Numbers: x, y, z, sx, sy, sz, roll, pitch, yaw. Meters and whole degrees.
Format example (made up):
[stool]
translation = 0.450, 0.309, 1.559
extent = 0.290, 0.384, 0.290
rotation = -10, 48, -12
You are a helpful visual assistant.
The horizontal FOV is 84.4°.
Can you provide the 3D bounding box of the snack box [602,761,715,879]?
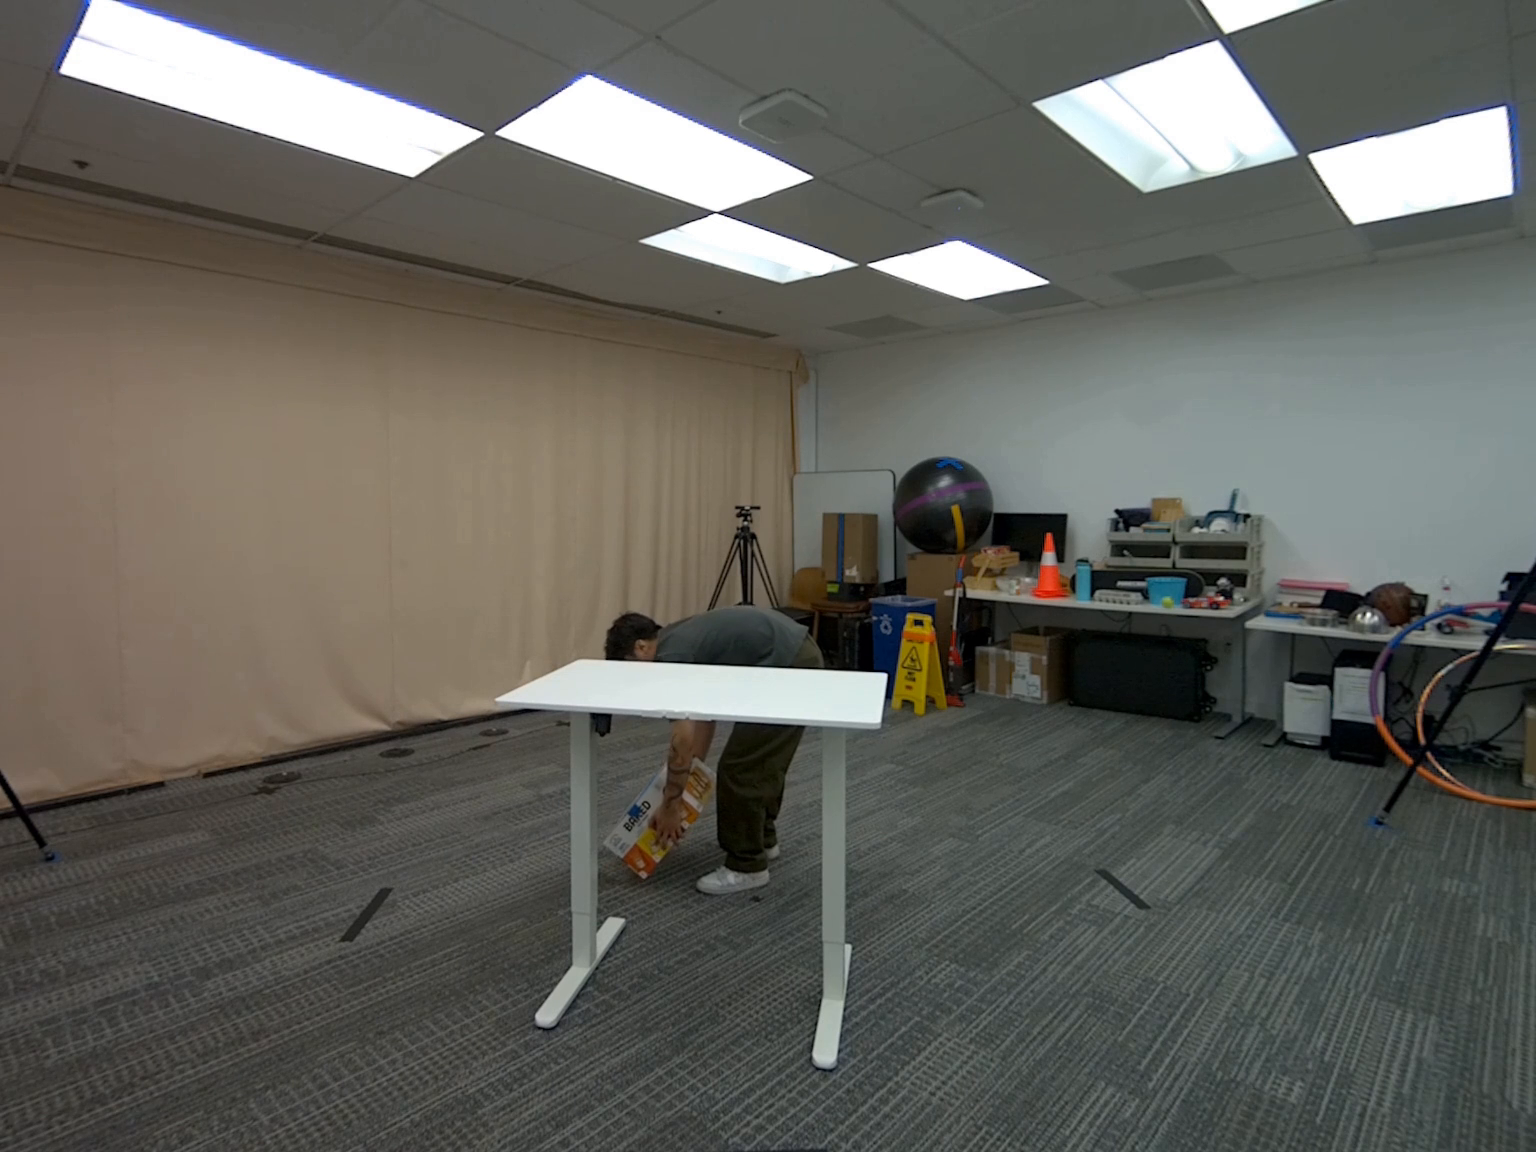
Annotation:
[snack box]
translation = -0.401, 0.898, 3.255
extent = 0.207, 0.341, 0.402
rotation = 40, 8, 2
